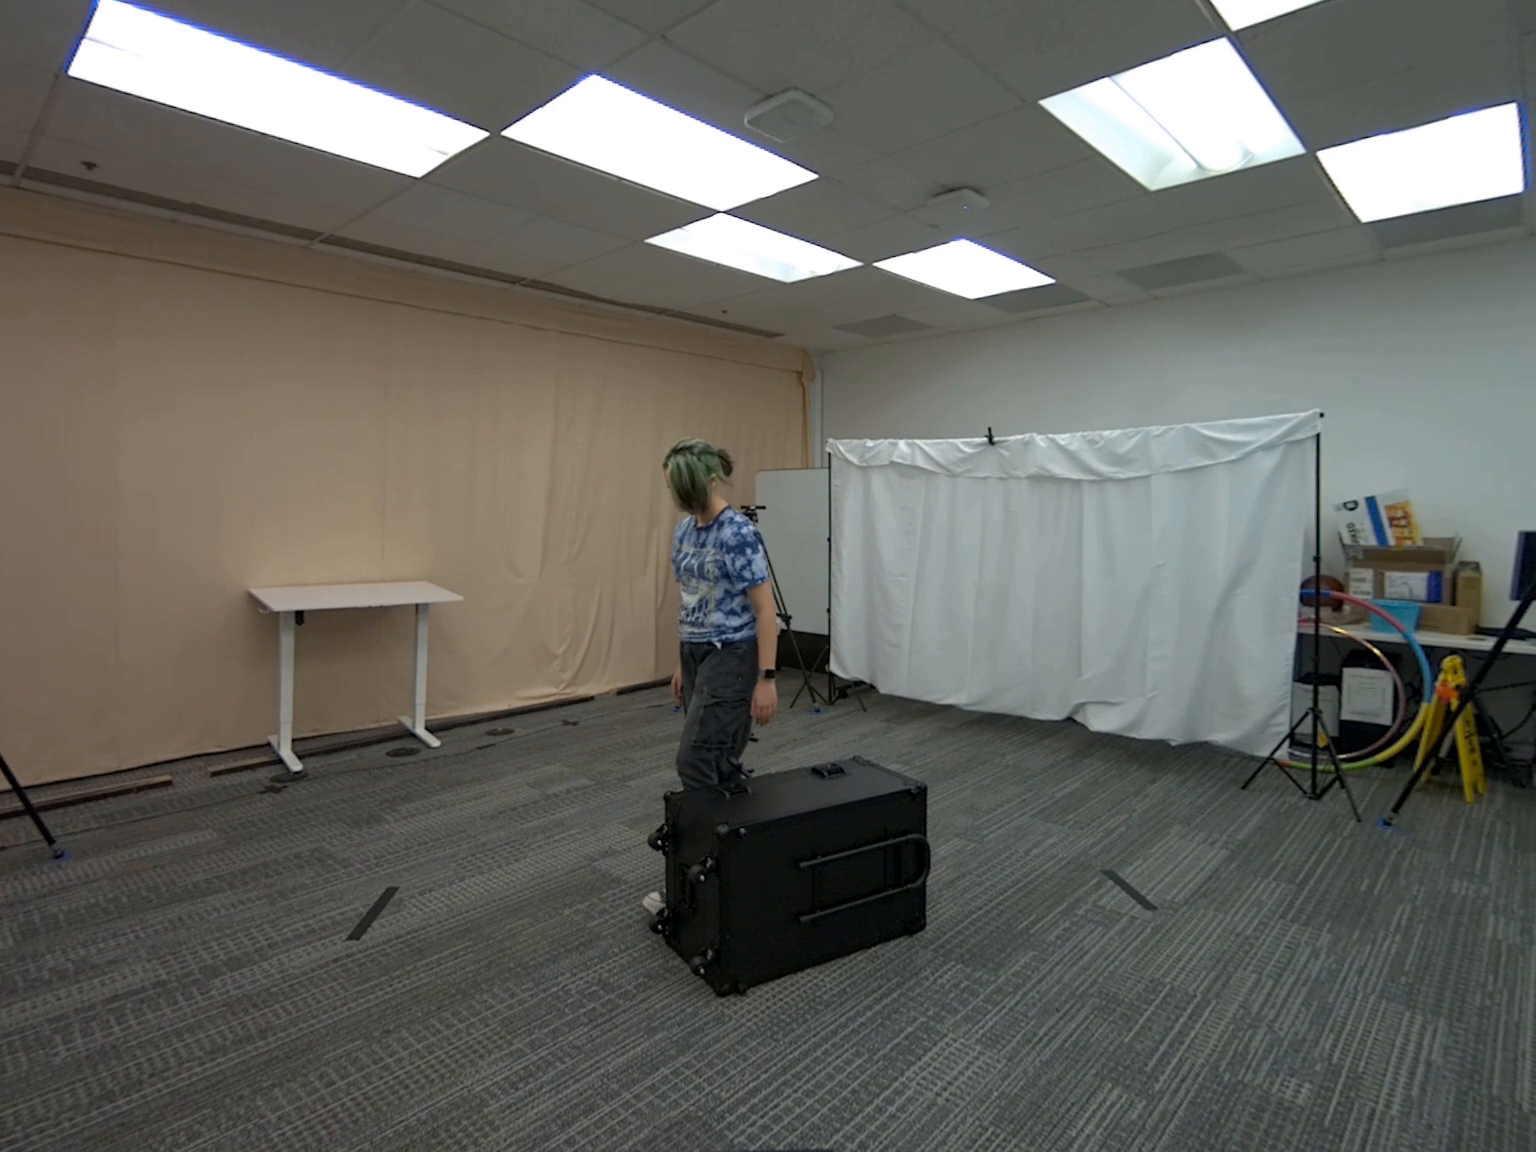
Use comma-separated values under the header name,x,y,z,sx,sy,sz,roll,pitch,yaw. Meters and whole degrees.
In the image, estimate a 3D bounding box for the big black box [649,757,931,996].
name,x,y,z,sx,sy,sz,roll,pitch,yaw
big black box,0.082,0.926,2.676,0.839,0.520,0.408,-3,5,-30
